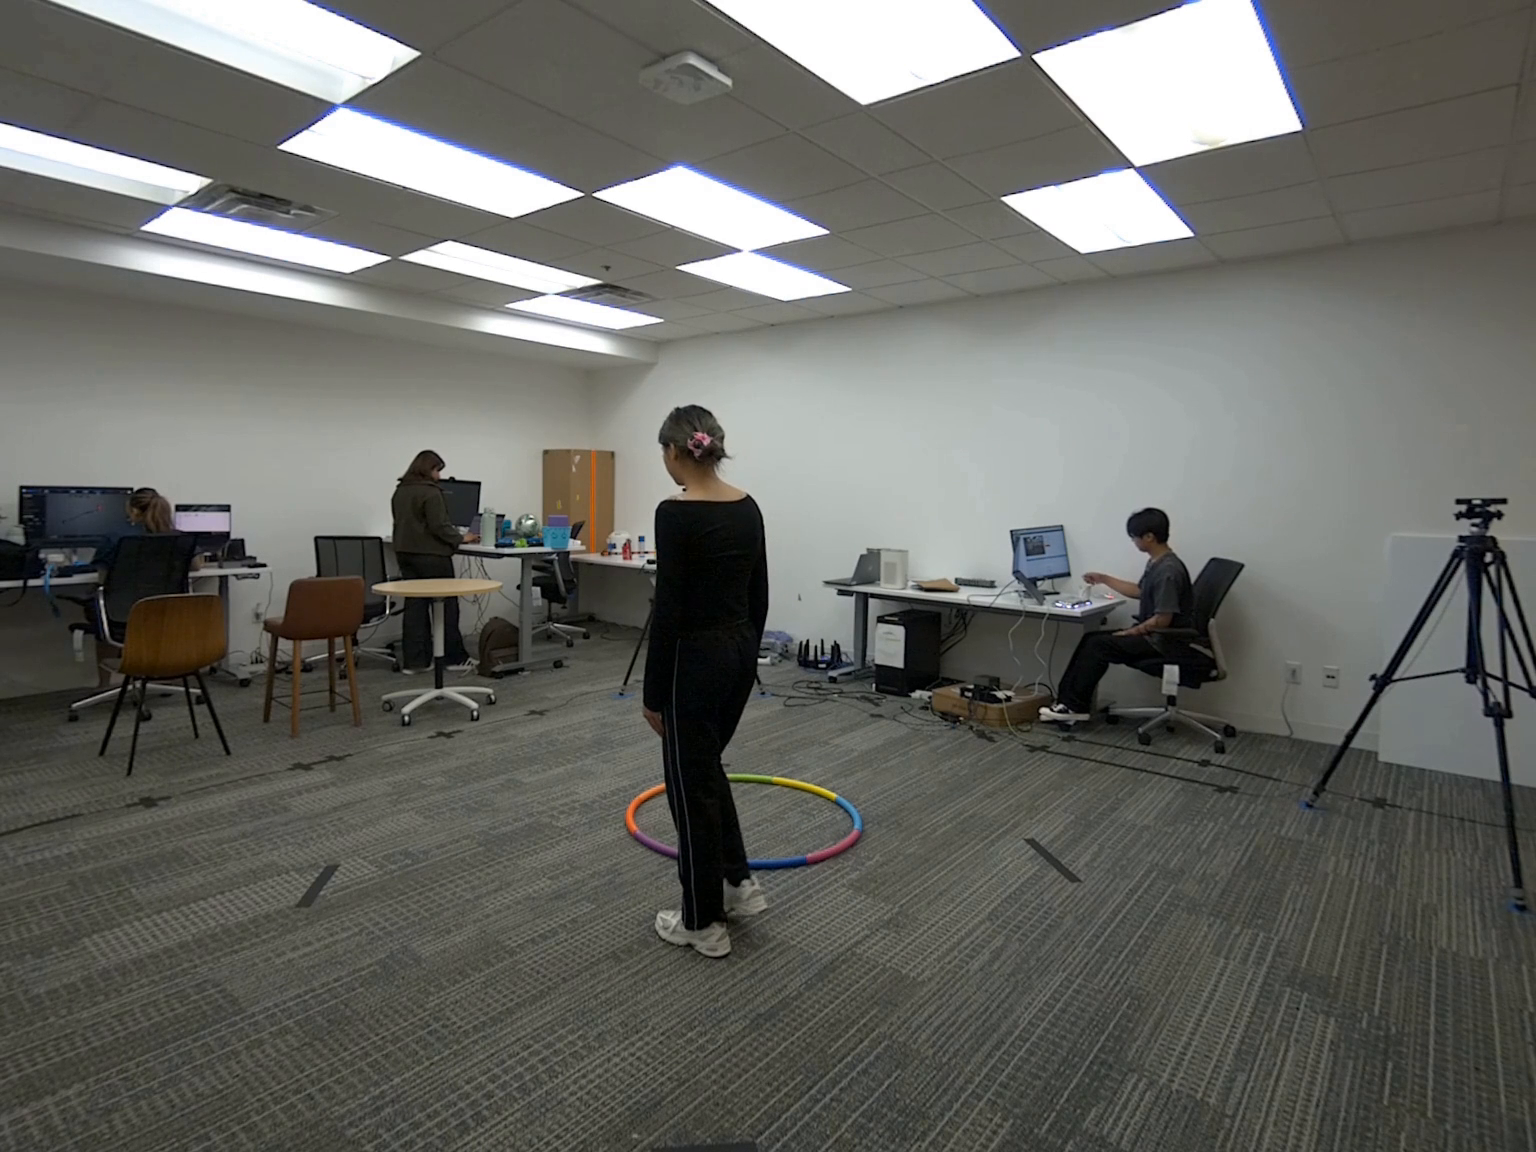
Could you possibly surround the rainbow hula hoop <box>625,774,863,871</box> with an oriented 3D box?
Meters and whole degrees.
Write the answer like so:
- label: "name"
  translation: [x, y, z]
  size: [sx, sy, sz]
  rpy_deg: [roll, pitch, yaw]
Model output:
- label: "rainbow hula hoop"
  translation: [-0.119, 0.996, 3.586]
  size: [0.978, 0.035, 0.984]
  rpy_deg: [1, 6, -2]
